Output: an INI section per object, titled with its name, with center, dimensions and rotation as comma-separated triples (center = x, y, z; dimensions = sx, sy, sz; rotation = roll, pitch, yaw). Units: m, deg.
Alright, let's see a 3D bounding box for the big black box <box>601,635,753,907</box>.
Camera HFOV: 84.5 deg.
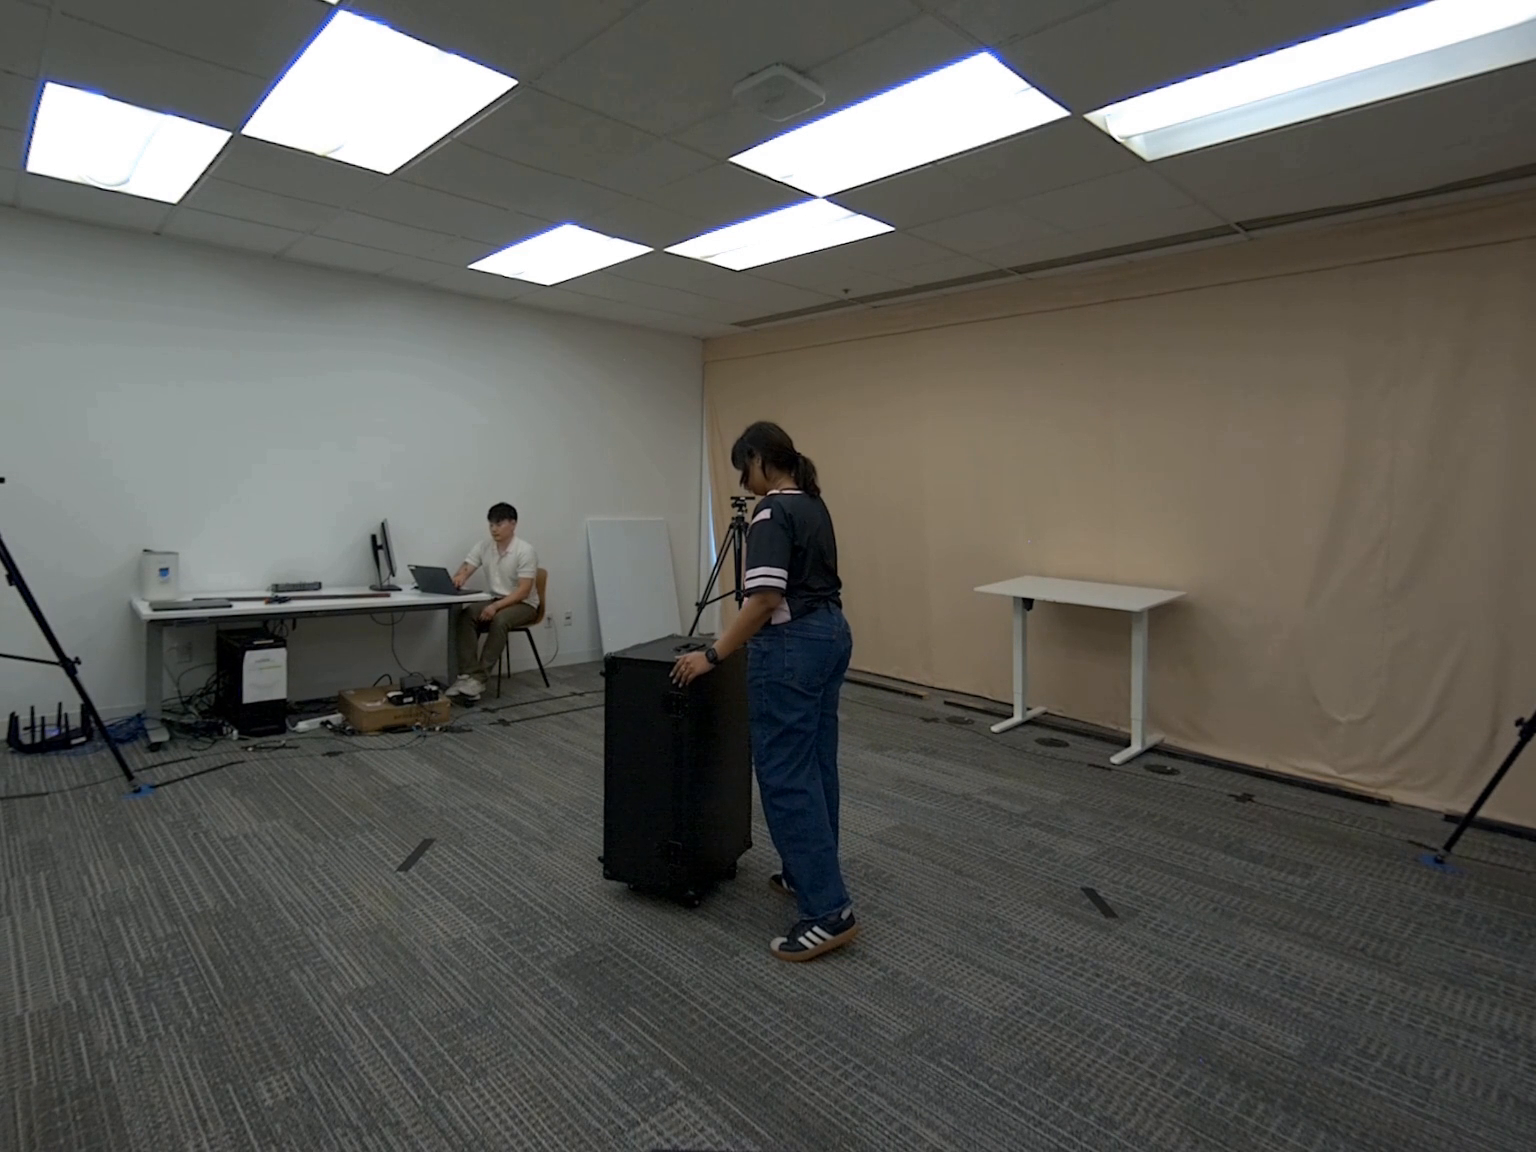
[big black box]
center = -0.325, 0.683, 3.031
dimensions = 0.403, 0.859, 0.513
rotation = 2, 4, 23
